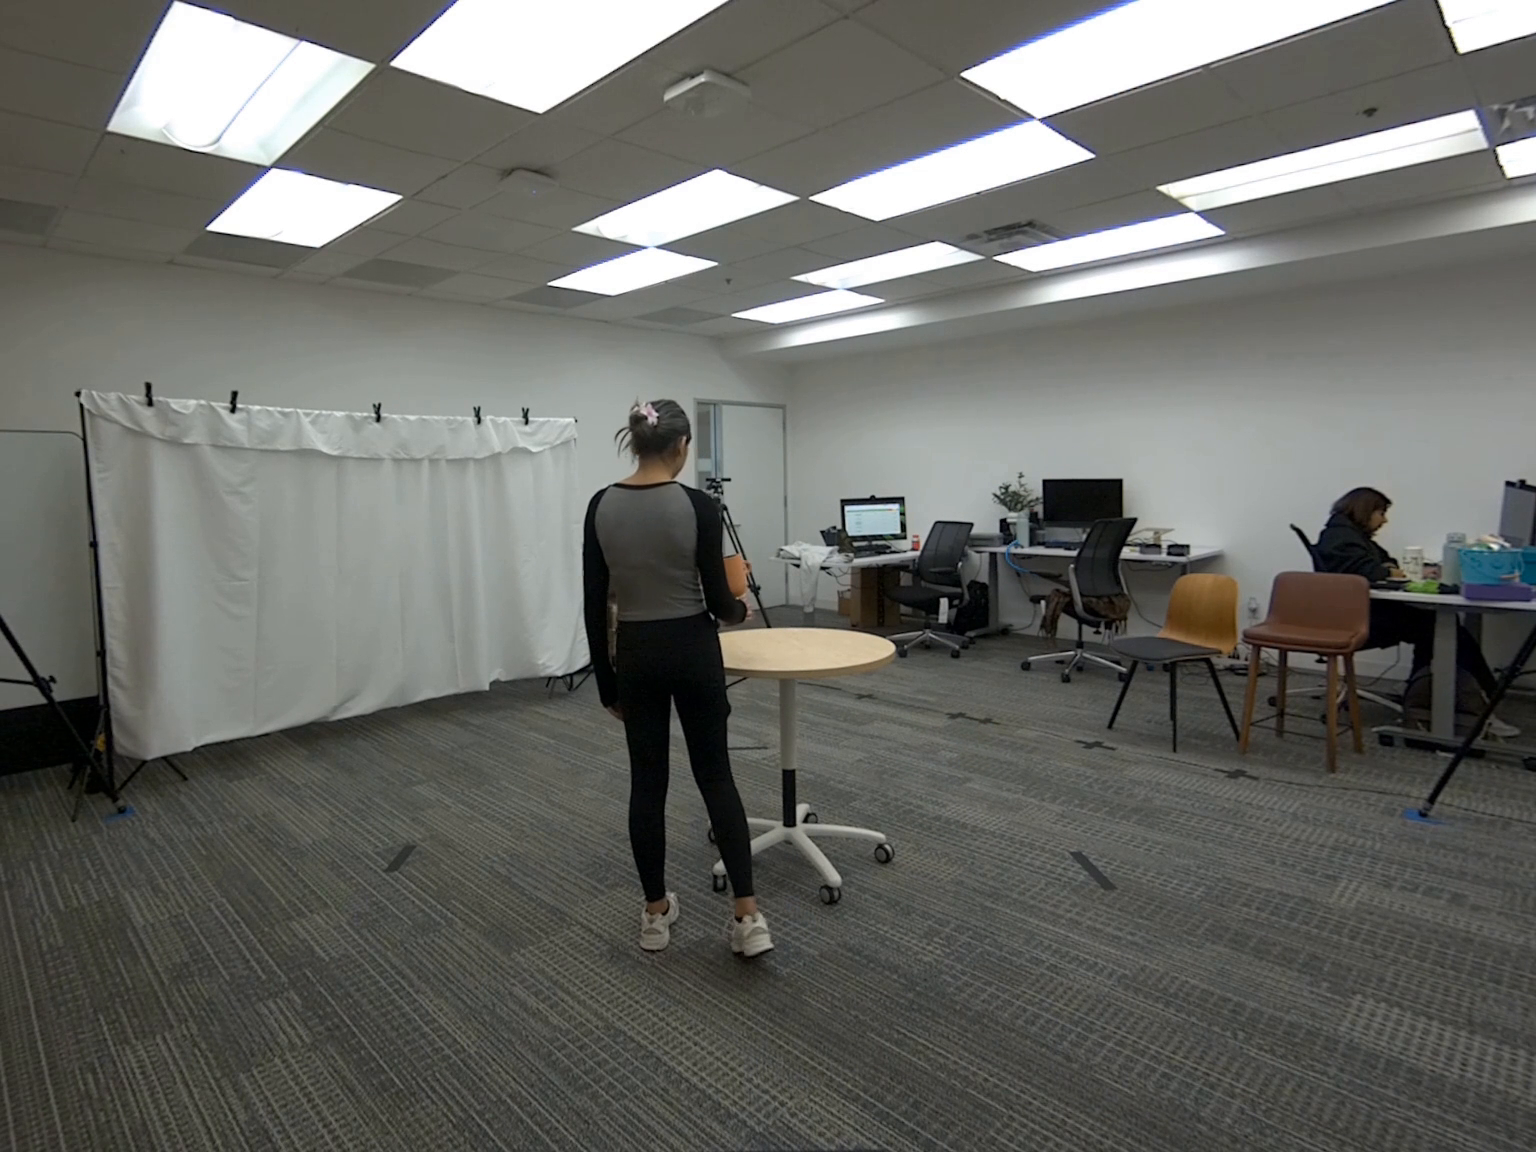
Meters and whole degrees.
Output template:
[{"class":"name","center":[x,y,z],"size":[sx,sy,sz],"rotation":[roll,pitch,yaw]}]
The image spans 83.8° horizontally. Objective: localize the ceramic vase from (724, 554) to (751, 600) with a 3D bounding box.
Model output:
[{"class":"ceramic vase","center":[-0.123,0.048,2.806],"size":[0.161,0.219,0.133],"rotation":[-10,3,14]}]
